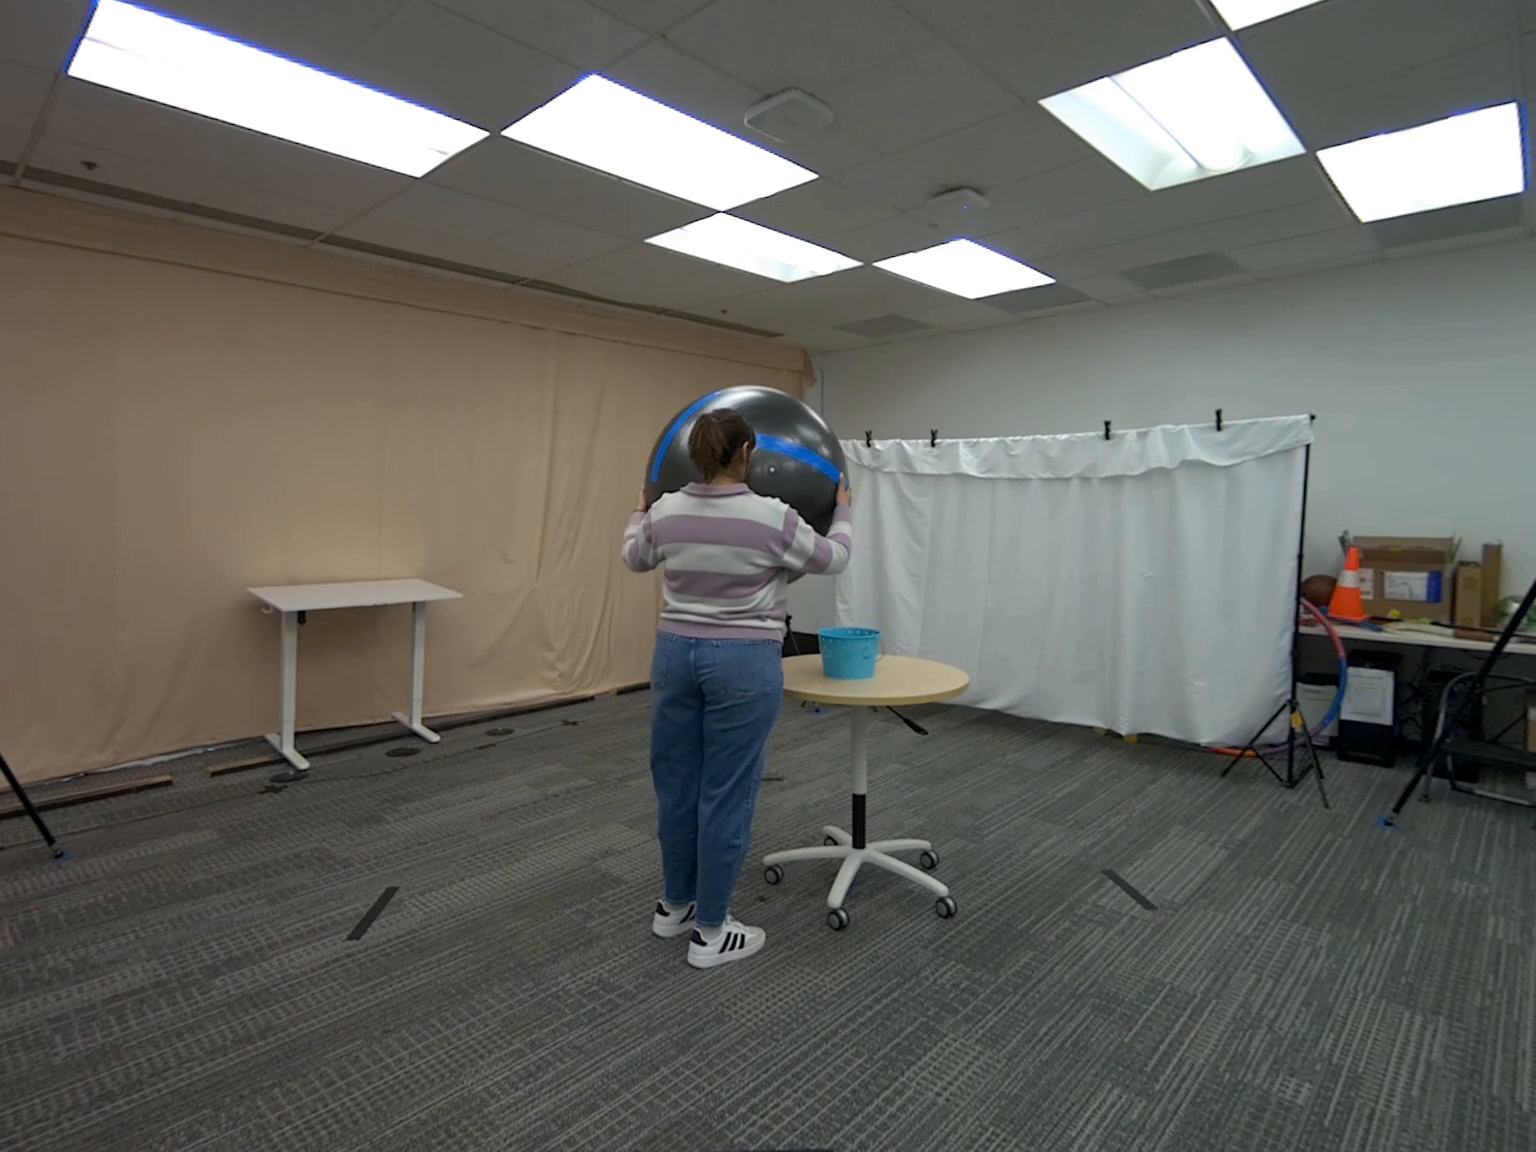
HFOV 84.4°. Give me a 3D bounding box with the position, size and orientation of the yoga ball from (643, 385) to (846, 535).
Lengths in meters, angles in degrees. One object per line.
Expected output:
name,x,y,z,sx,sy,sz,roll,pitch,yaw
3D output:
yoga ball,-0.074,-0.308,3.118,0.757,0.756,0.760,0,4,-2
